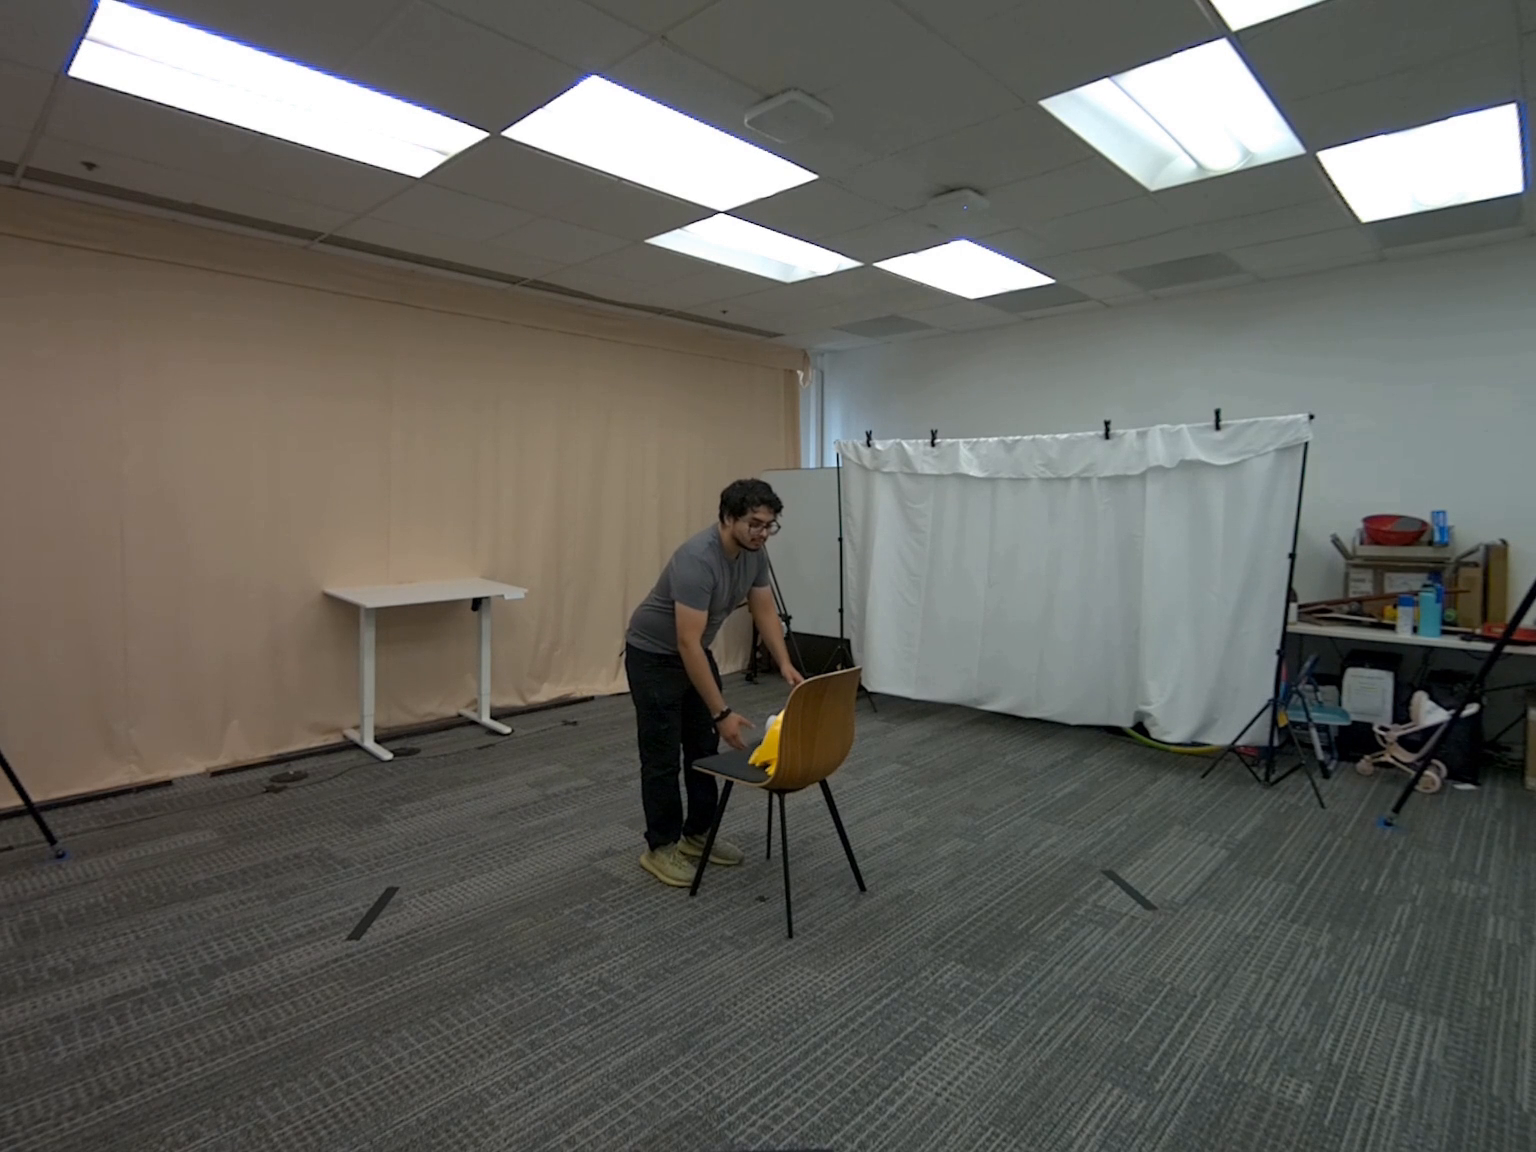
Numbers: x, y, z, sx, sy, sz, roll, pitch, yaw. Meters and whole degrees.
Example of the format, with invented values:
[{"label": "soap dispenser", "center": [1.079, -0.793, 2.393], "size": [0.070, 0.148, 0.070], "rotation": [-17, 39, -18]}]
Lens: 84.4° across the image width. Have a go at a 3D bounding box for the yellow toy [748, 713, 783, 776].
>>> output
[{"label": "yellow toy", "center": [0.053, 0.556, 2.955], "size": [0.187, 0.230, 0.211], "rotation": [-1, 6, -32]}]
